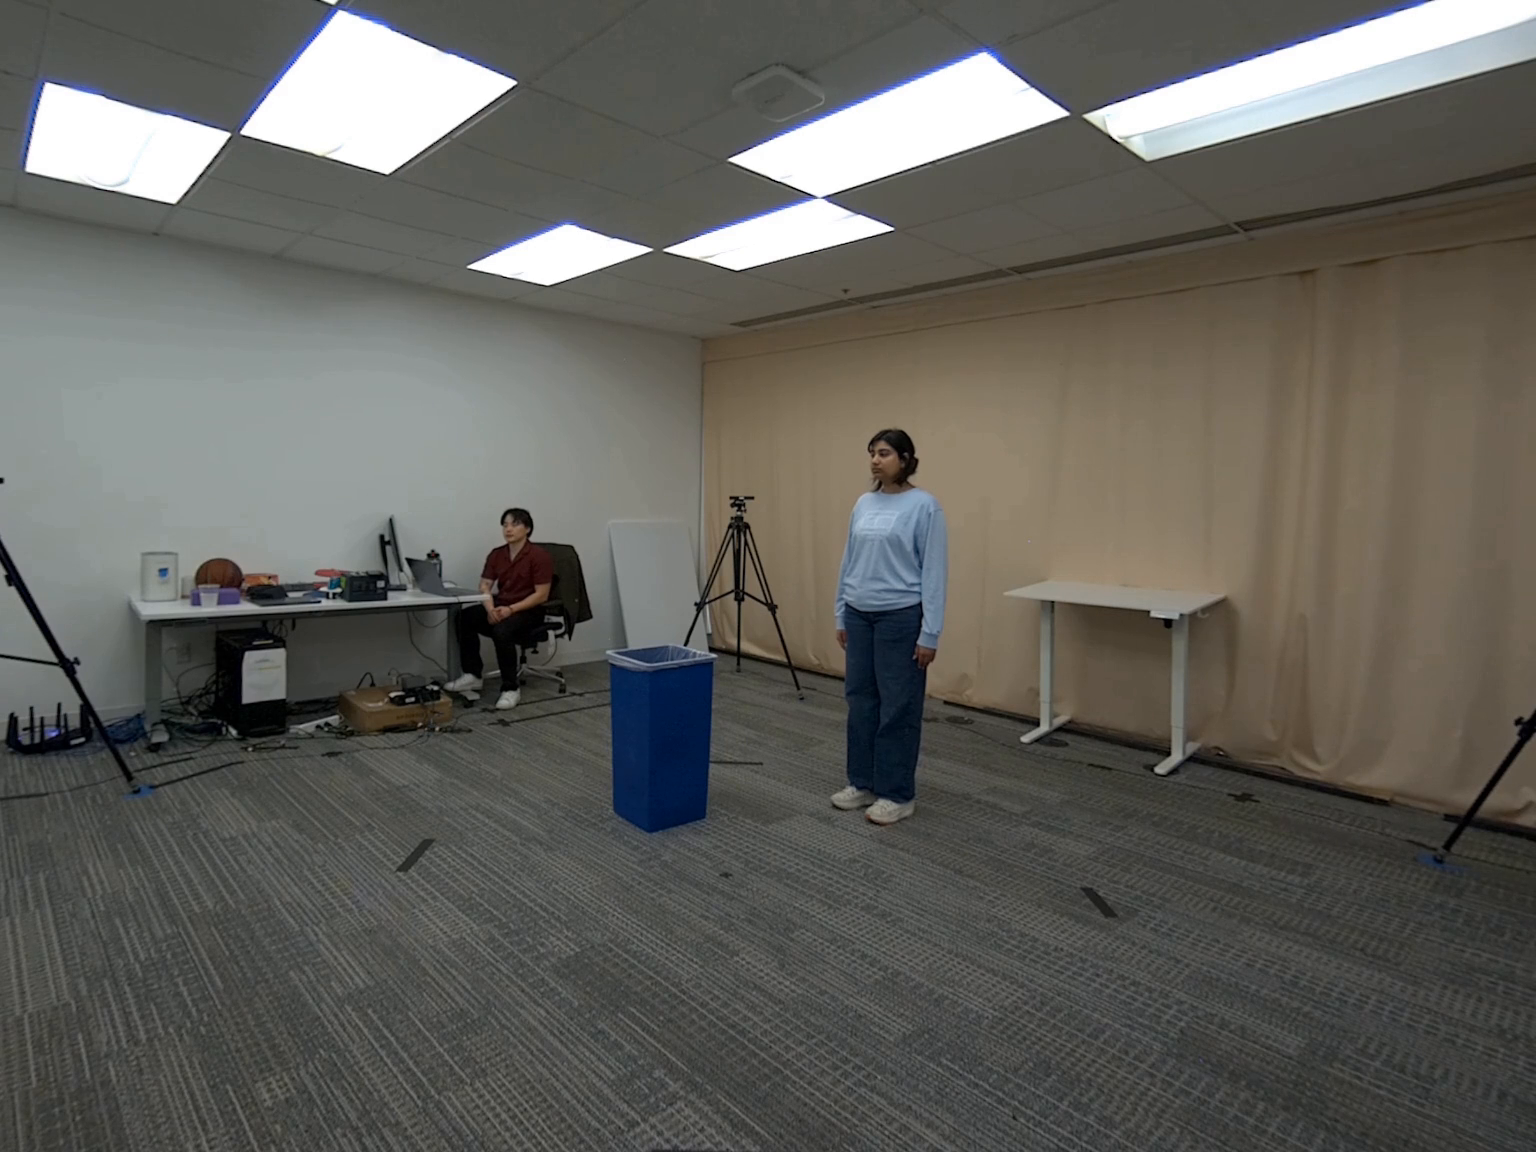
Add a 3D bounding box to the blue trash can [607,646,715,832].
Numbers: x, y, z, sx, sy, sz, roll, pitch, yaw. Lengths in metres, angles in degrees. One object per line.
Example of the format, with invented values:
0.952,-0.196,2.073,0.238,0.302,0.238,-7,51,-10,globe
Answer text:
-0.480,0.691,3.658,0.365,0.712,0.387,-2,4,-40,blue trash can
